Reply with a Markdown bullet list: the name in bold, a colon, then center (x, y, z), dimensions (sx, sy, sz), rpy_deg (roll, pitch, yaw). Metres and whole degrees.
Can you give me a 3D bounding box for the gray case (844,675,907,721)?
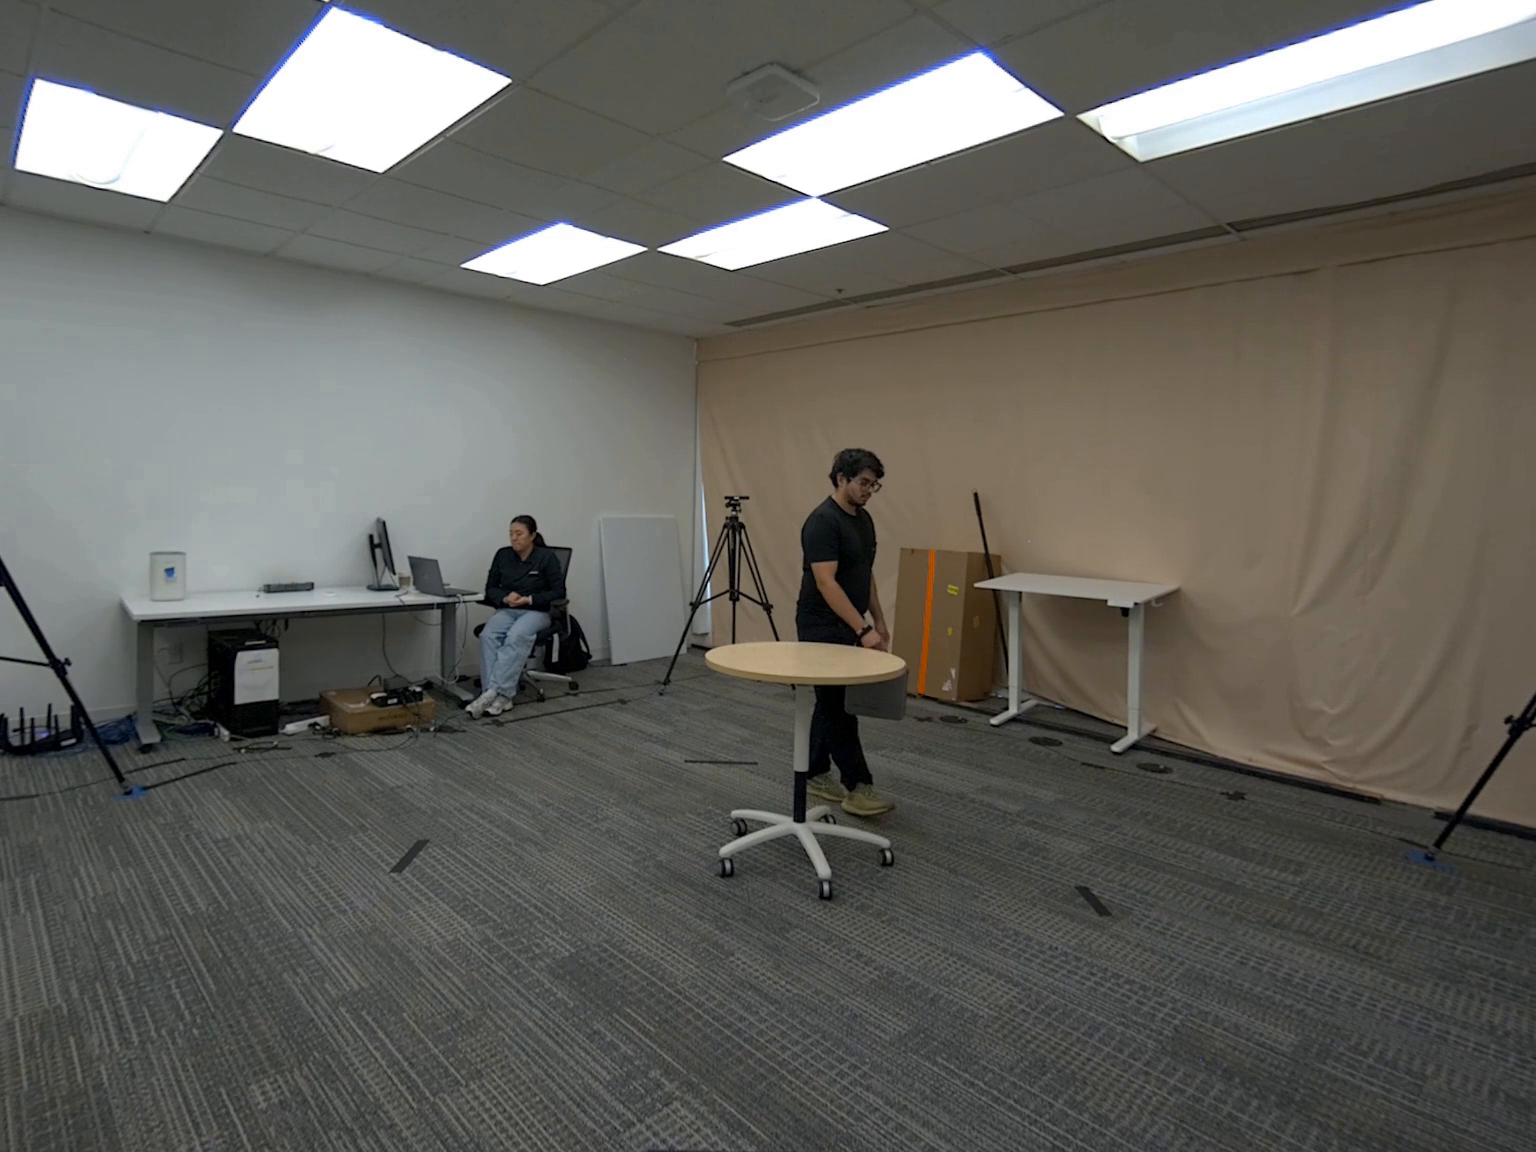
- **gray case**: center (0.438, 0.473, 3.595), dimensions (0.261, 0.257, 0.104), rpy_deg (2, 17, 19)
